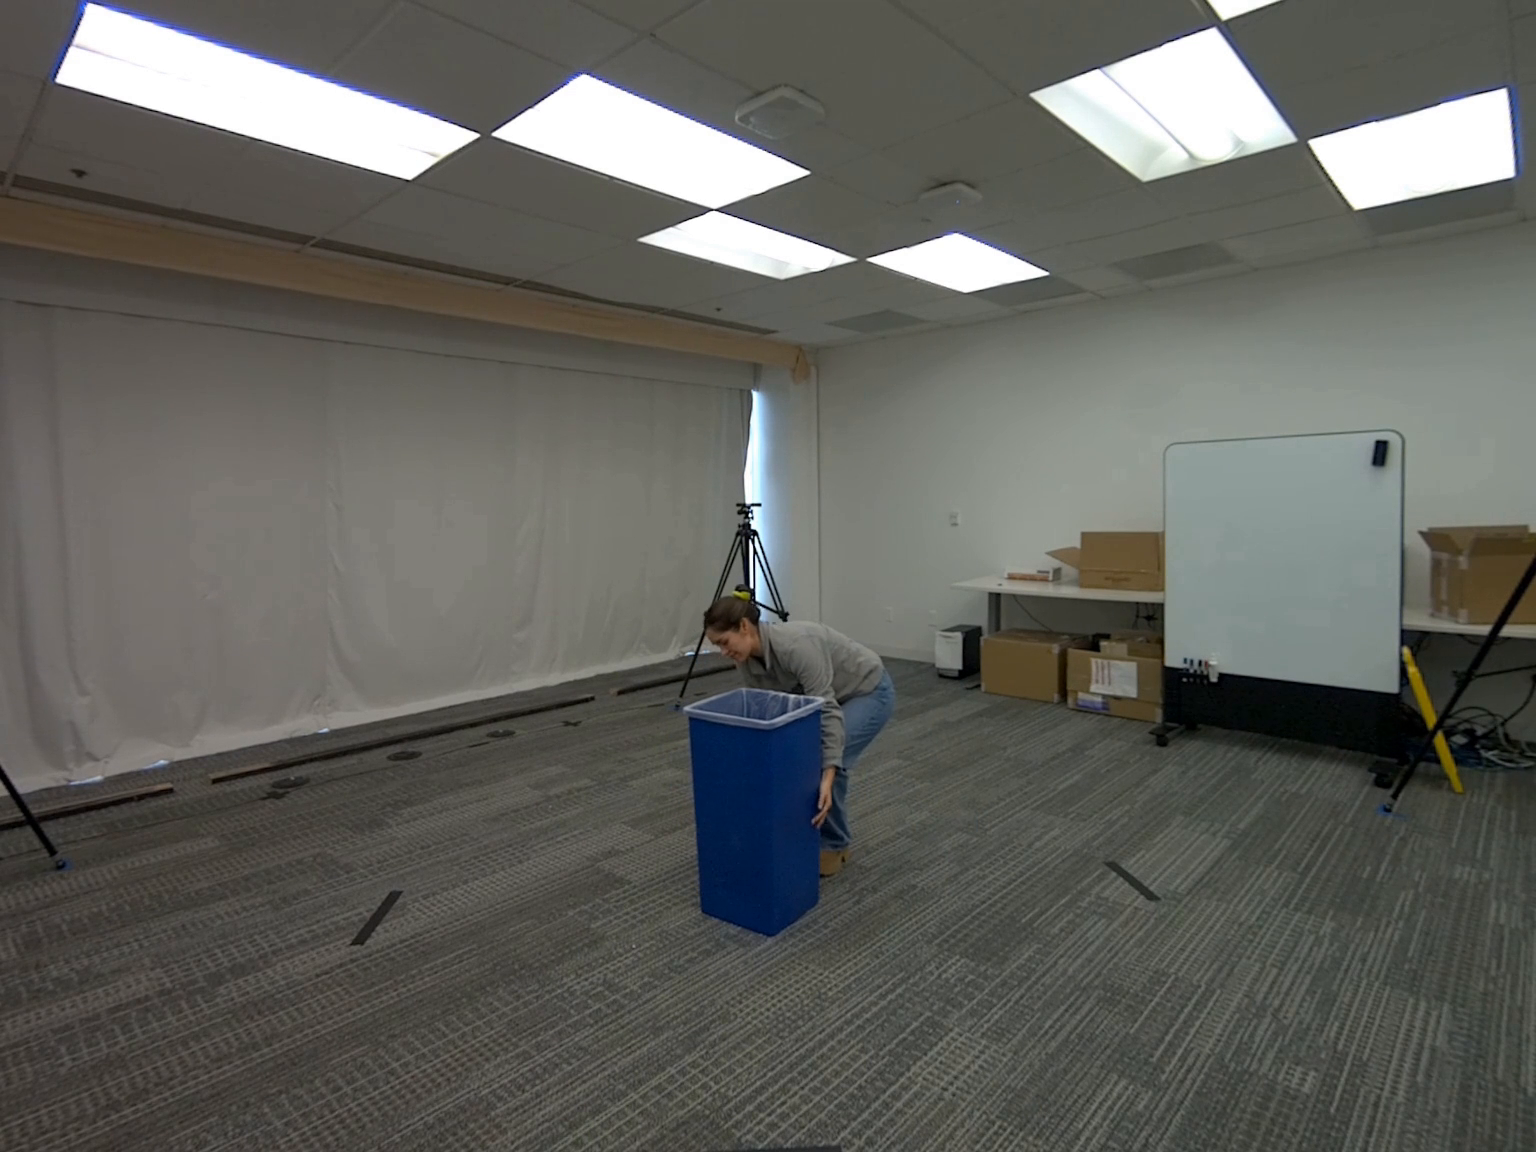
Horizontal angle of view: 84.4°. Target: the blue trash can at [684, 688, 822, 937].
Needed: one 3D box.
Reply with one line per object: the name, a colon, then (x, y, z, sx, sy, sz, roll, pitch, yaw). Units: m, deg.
blue trash can: (-0.034, 0.787, 2.875, 0.390, 0.712, 0.363, 1, 4, 35)
